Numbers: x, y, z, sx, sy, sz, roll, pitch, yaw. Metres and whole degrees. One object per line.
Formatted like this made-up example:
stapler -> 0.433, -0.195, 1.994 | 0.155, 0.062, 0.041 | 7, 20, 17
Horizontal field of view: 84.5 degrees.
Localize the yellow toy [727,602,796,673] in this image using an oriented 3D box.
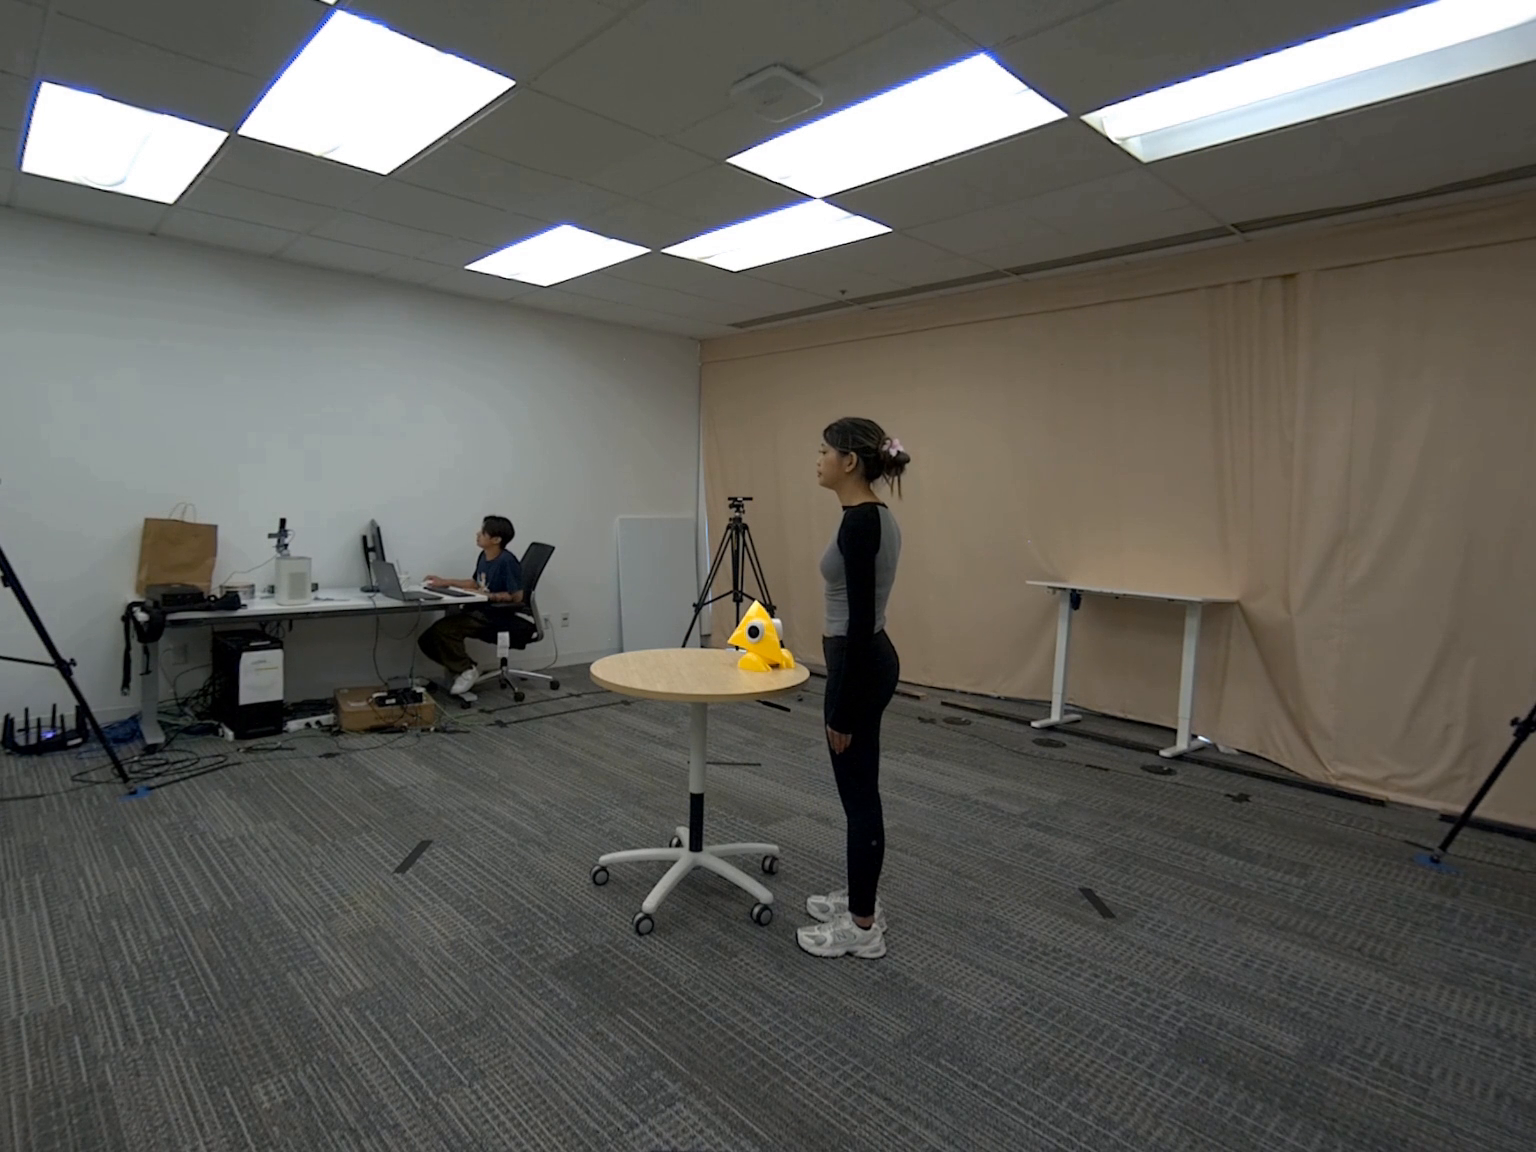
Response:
yellow toy -> -0.014, 0.213, 3.027 | 0.200, 0.230, 0.198 | -1, 6, -38
